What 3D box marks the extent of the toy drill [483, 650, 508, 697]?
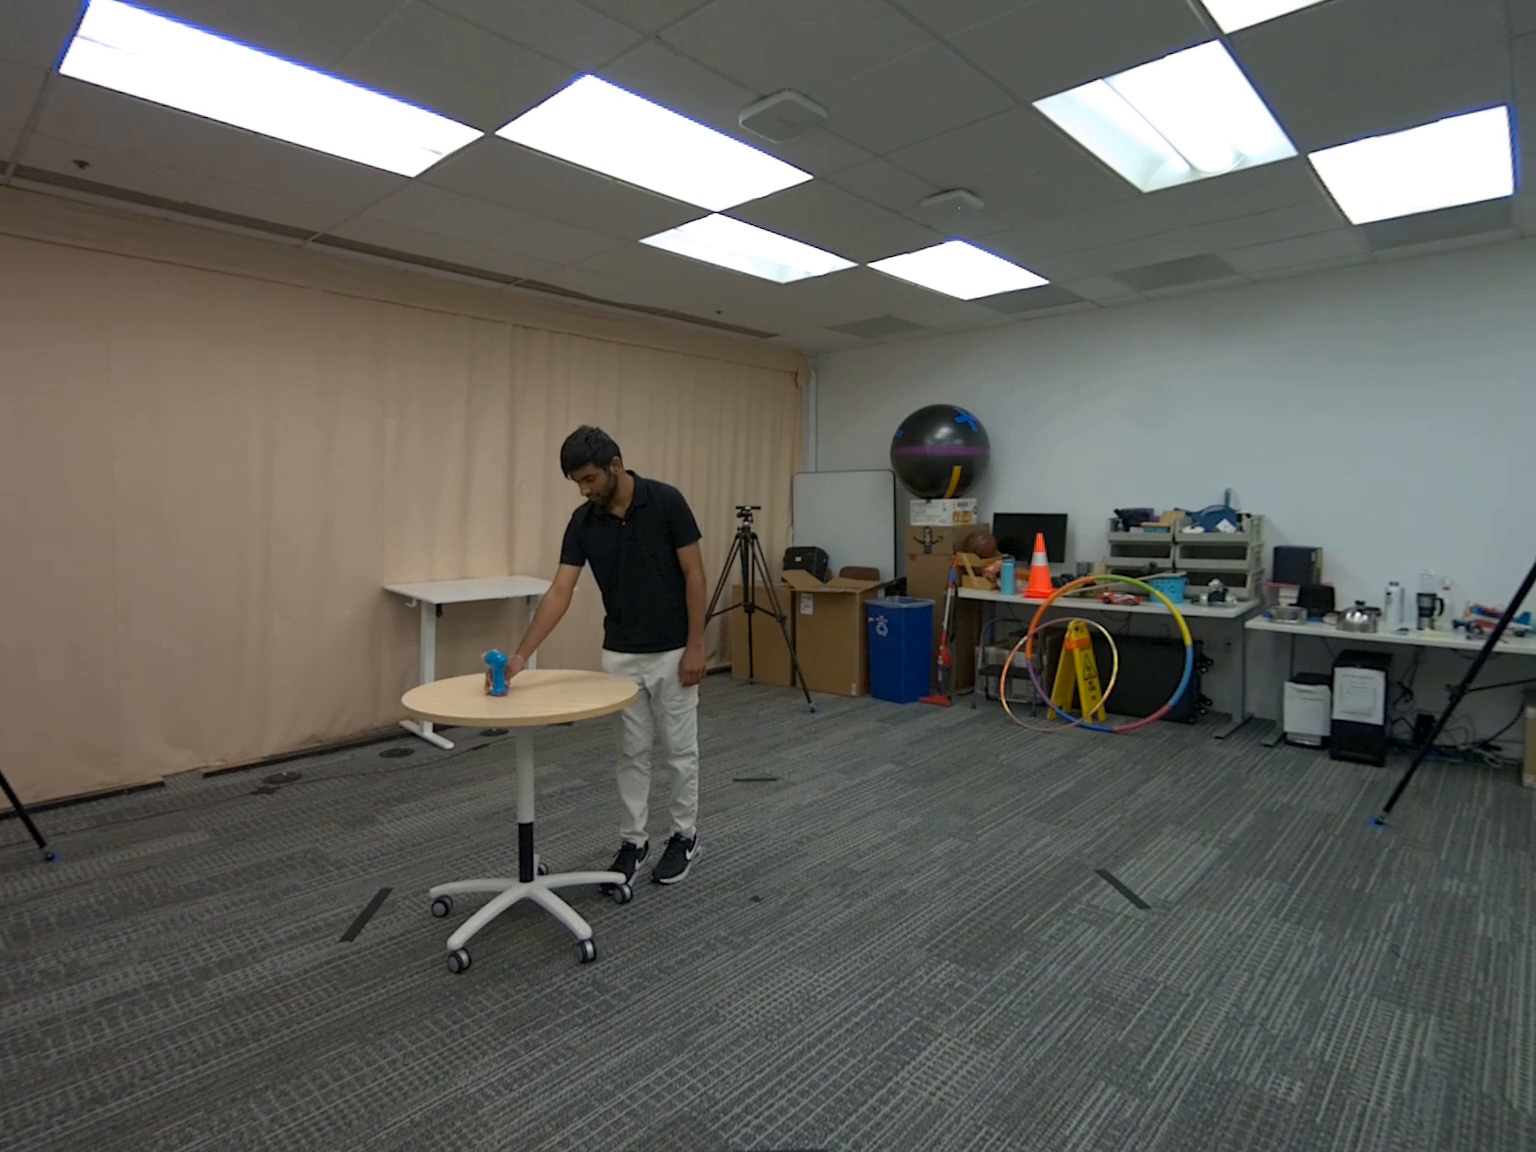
[{"bbox_3d":[-0.897,0.310,2.773,0.059,0.146,0.175,-4,4,-38],"label":"toy drill"}]
